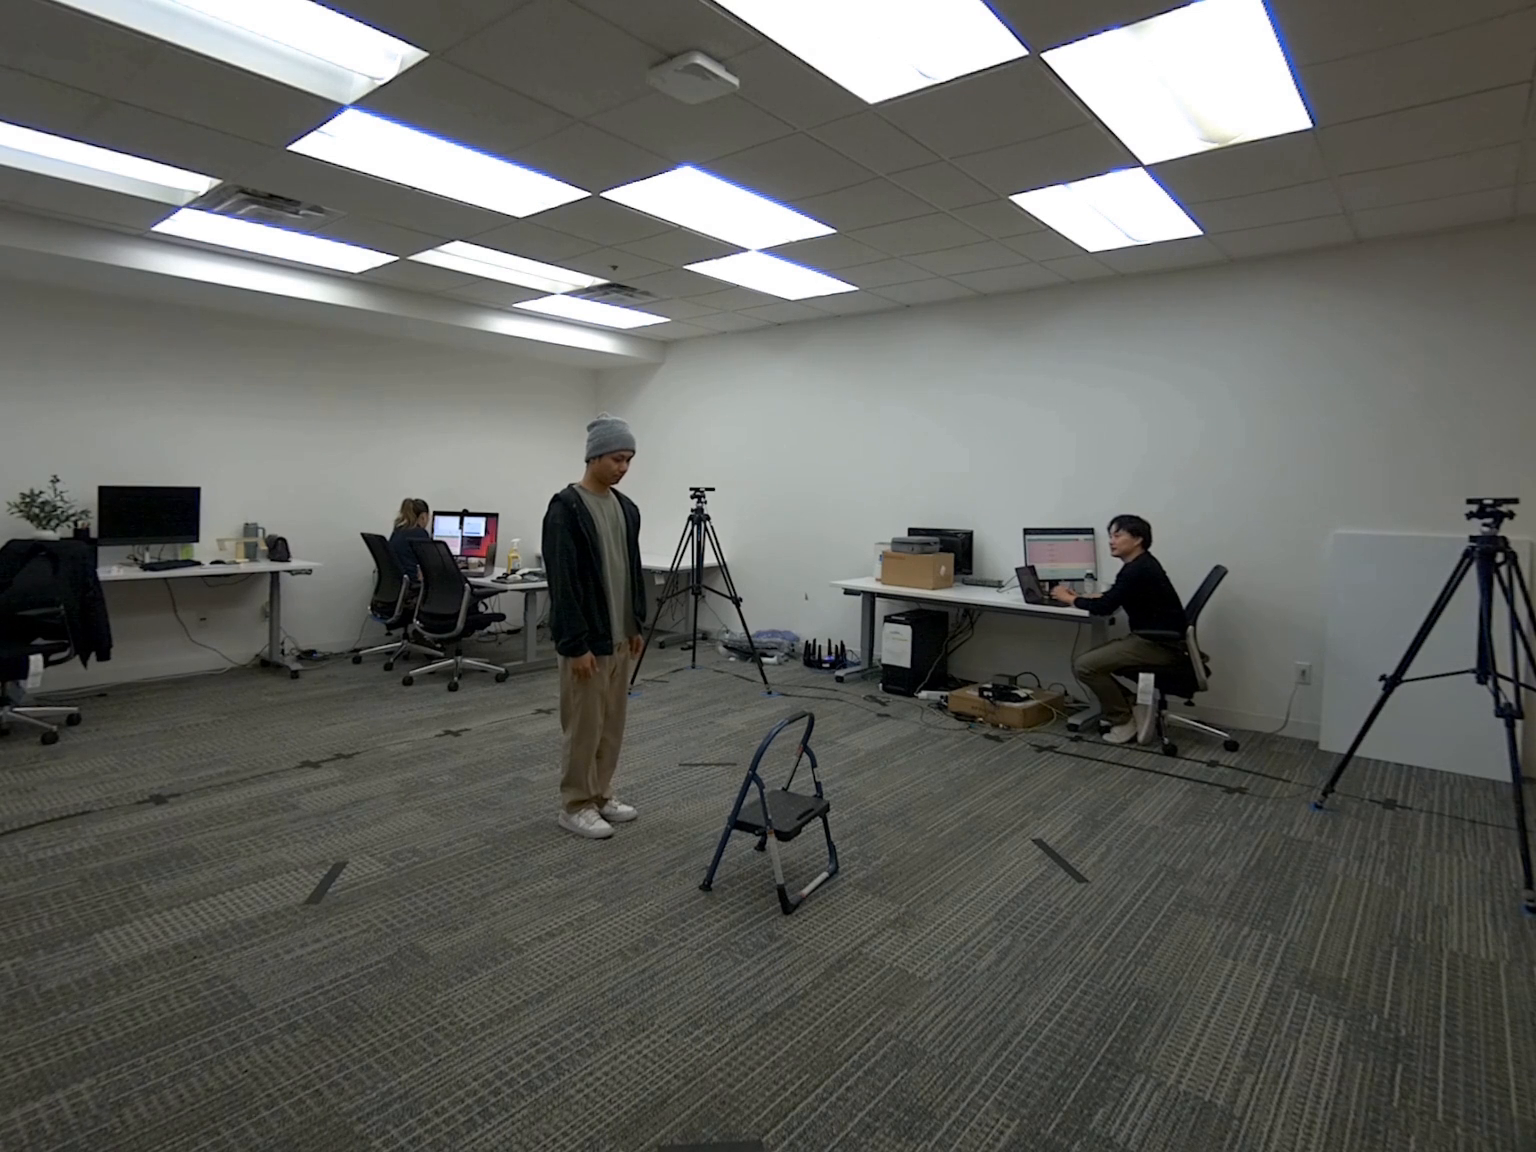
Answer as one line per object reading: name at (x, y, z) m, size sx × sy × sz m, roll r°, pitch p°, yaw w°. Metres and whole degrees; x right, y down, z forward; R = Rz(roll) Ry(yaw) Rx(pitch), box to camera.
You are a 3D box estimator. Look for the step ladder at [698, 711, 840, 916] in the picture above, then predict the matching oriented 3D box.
step ladder at (0.012, 0.776, 3.018) m, size 0.359 × 0.604 × 0.420 m, roll 3°, pitch 4°, yaw 29°
